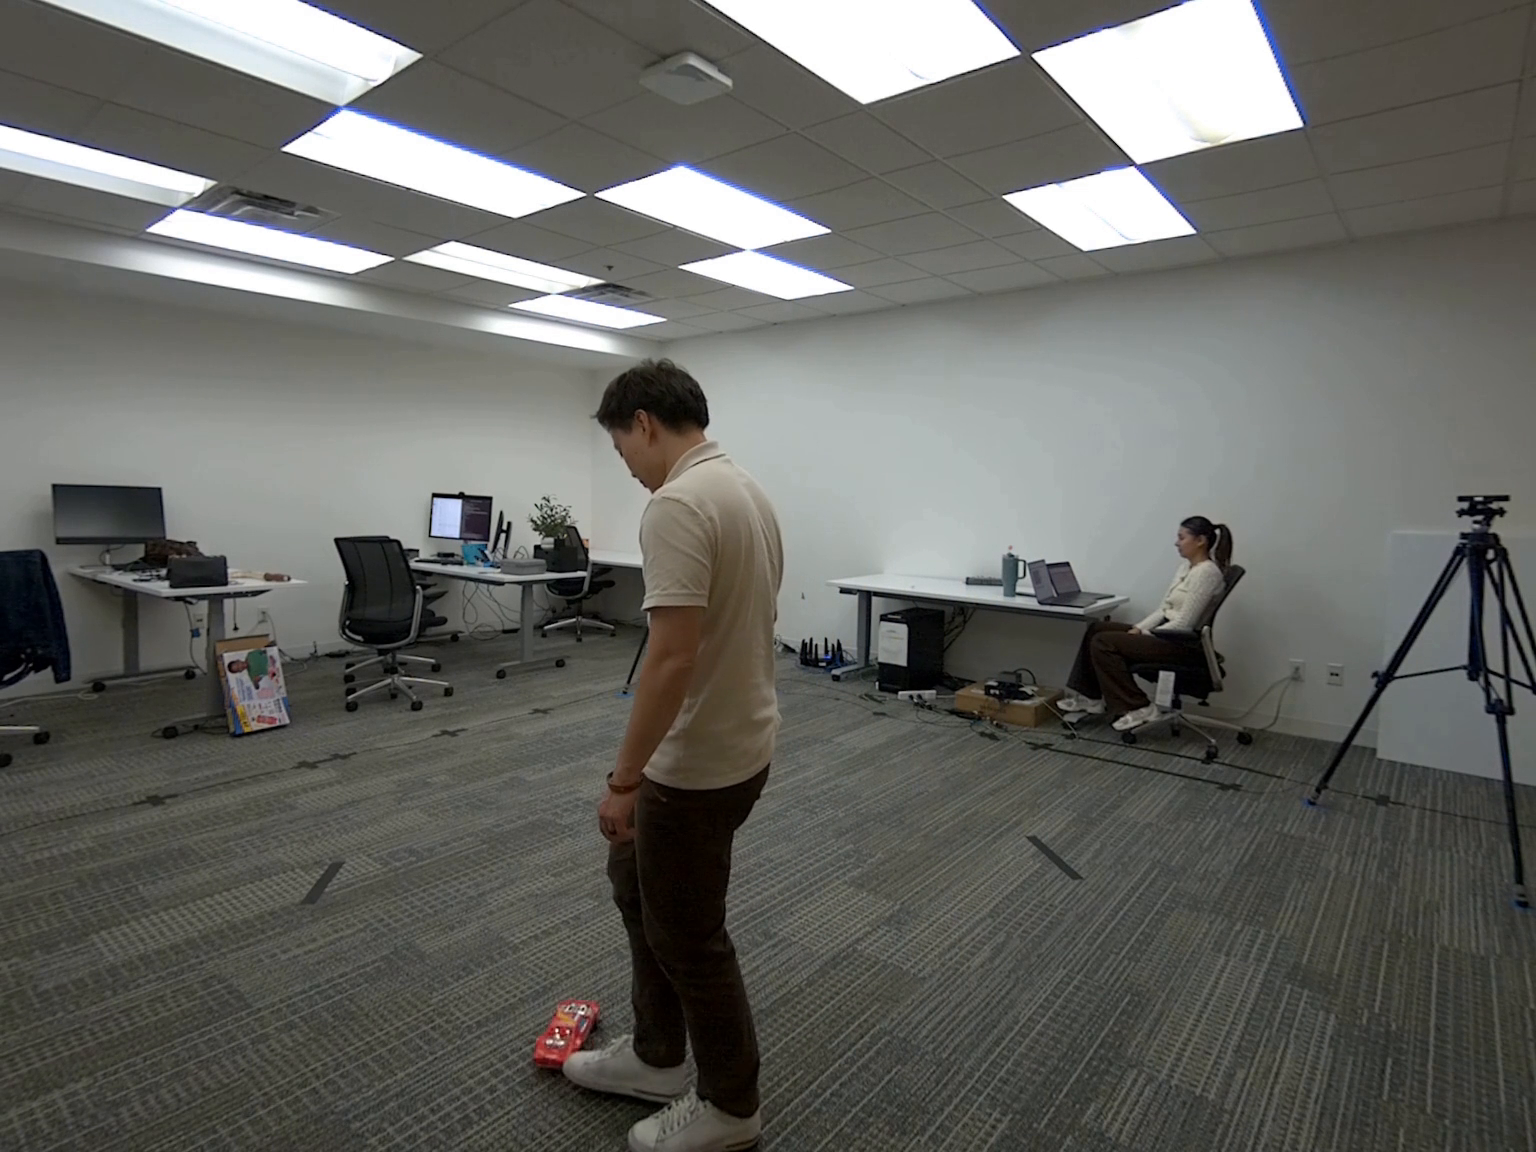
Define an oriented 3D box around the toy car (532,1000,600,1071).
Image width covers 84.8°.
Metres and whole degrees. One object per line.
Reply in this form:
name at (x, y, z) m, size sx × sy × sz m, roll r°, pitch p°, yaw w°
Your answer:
toy car at (-0.498, 1.133, 2.103) m, size 0.131 × 0.084 × 0.251 m, roll 2°, pitch -6°, yaw 7°
